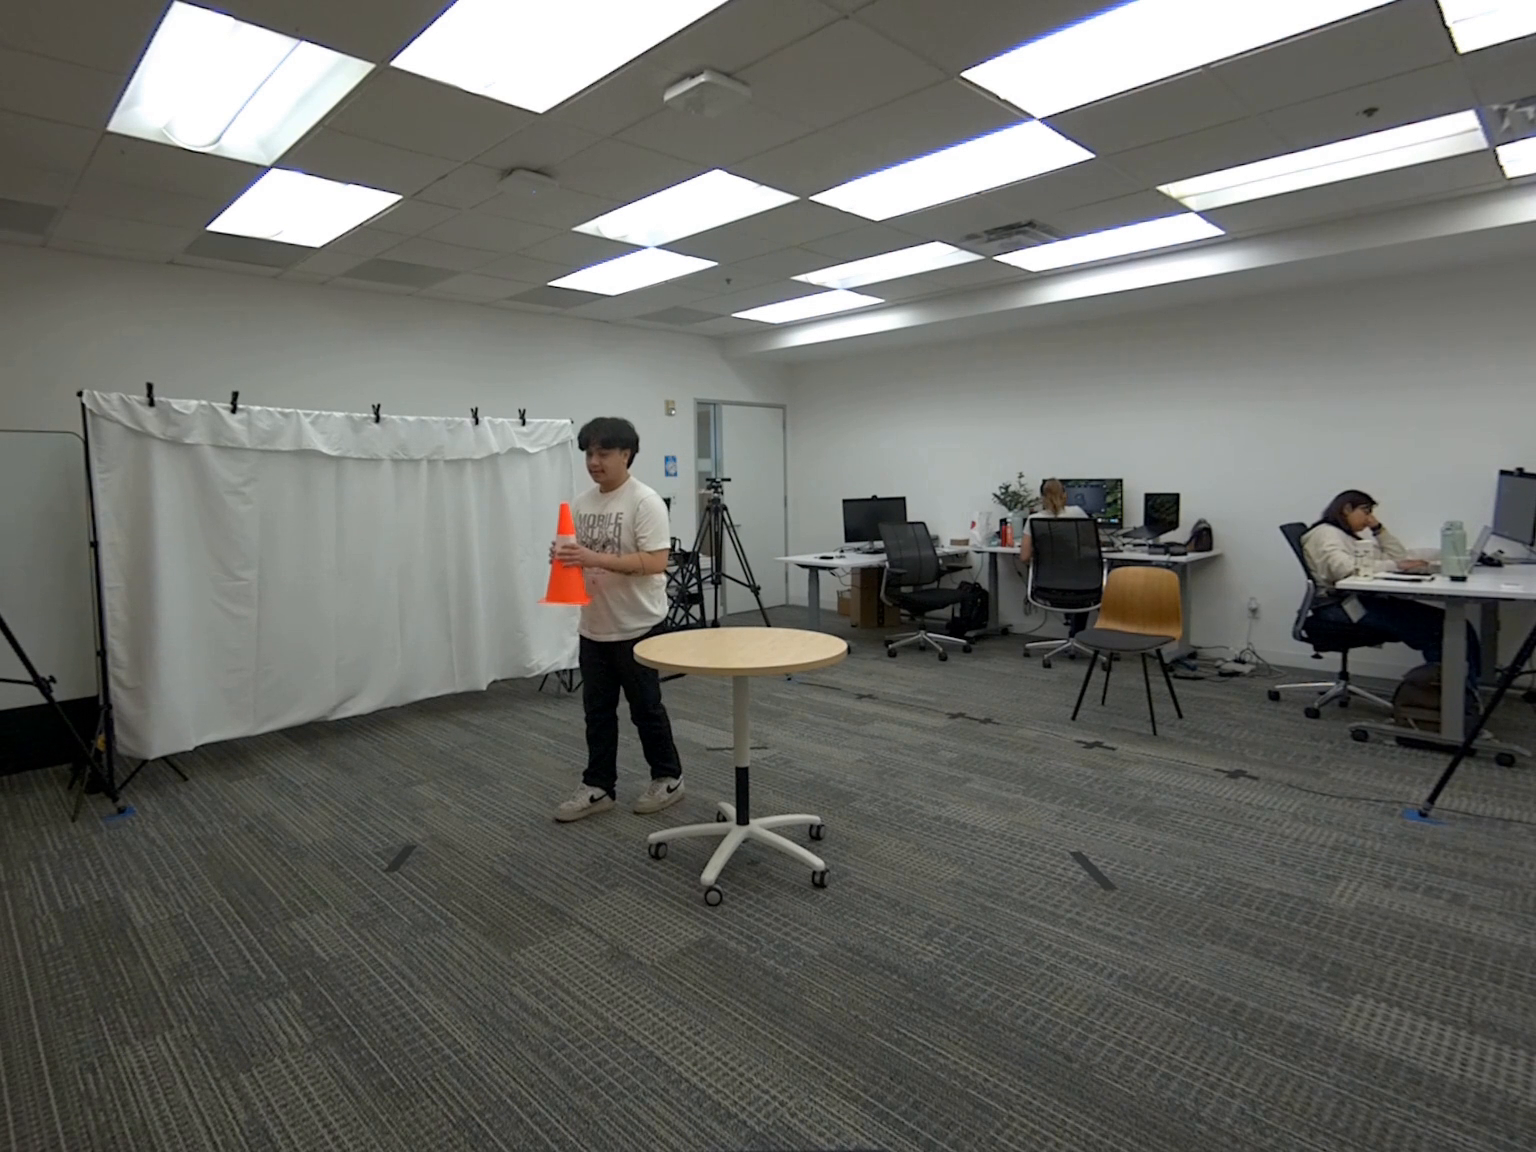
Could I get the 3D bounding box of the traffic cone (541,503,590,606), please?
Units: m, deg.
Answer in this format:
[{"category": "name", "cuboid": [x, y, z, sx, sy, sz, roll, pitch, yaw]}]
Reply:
[{"category": "traffic cone", "cuboid": [-0.809, -0.096, 3.356, 0.204, 0.381, 0.205, 1, 7, 4]}]
